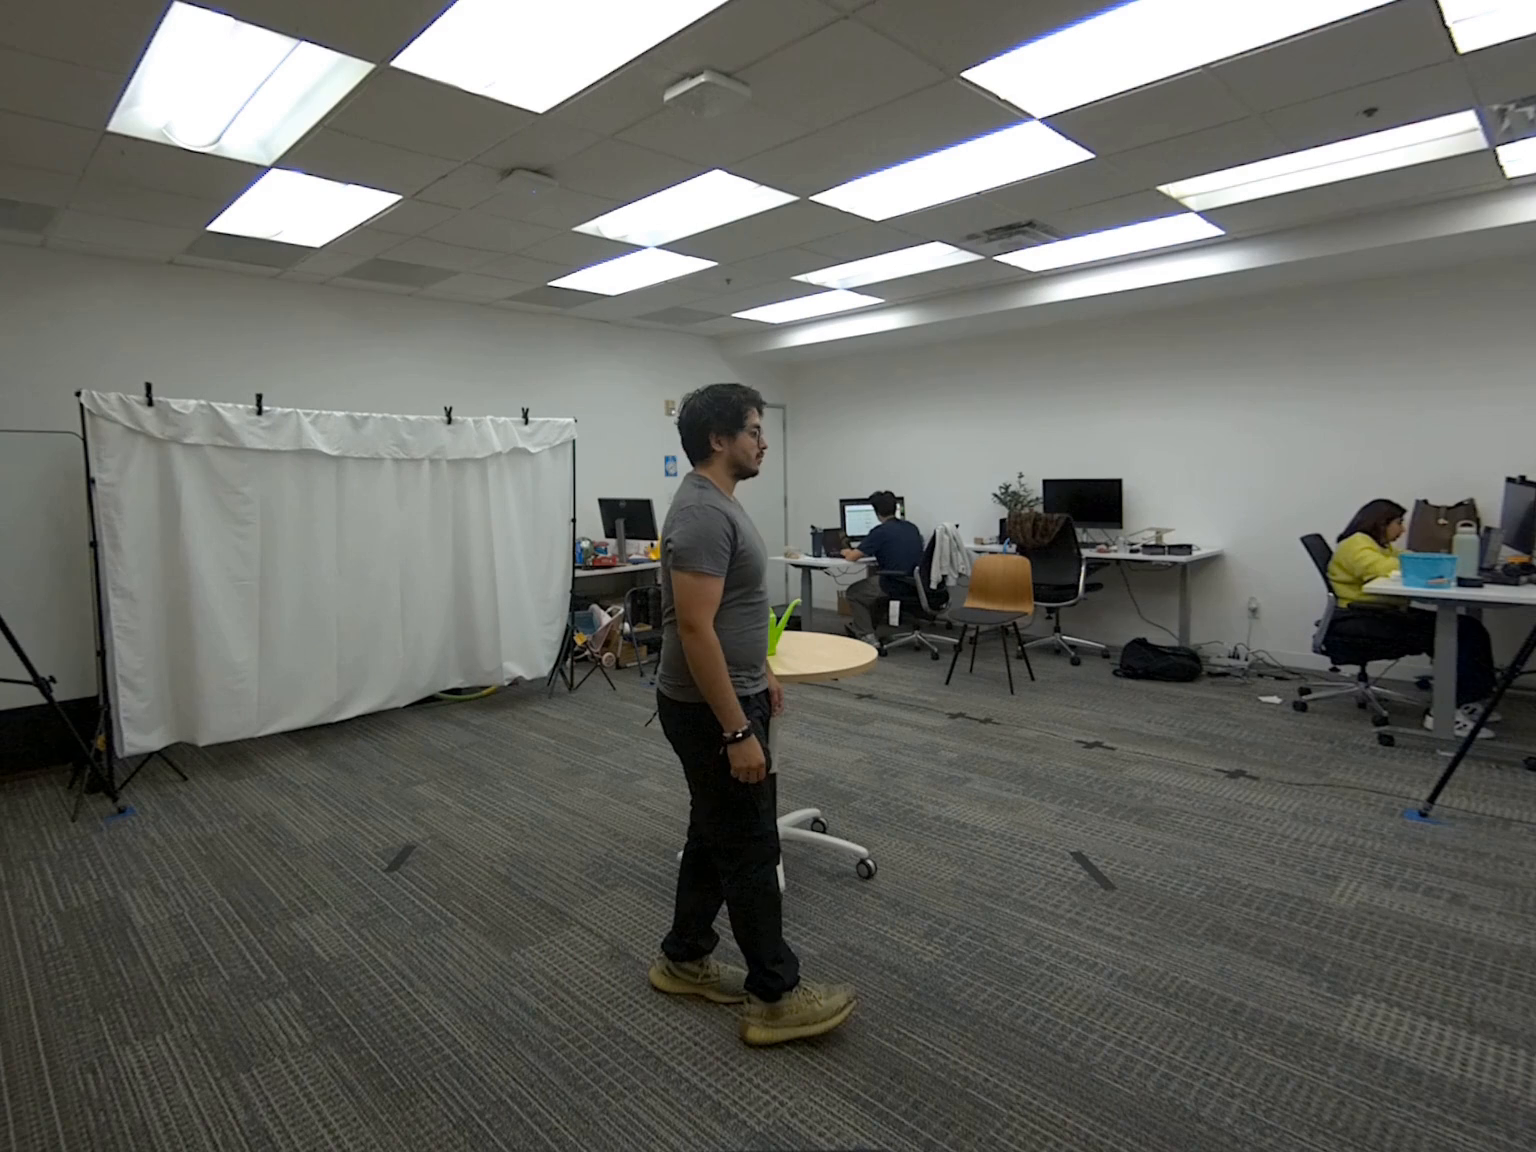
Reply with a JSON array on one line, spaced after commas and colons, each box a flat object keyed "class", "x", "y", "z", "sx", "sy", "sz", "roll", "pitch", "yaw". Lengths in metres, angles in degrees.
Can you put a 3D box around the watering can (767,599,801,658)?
[{"class": "watering can", "x": 0.014, "y": 0.186, "z": 2.981, "sx": 0.273, "sy": 0.176, "sz": 0.100, "roll": -3, "pitch": 7, "yaw": -21}]
